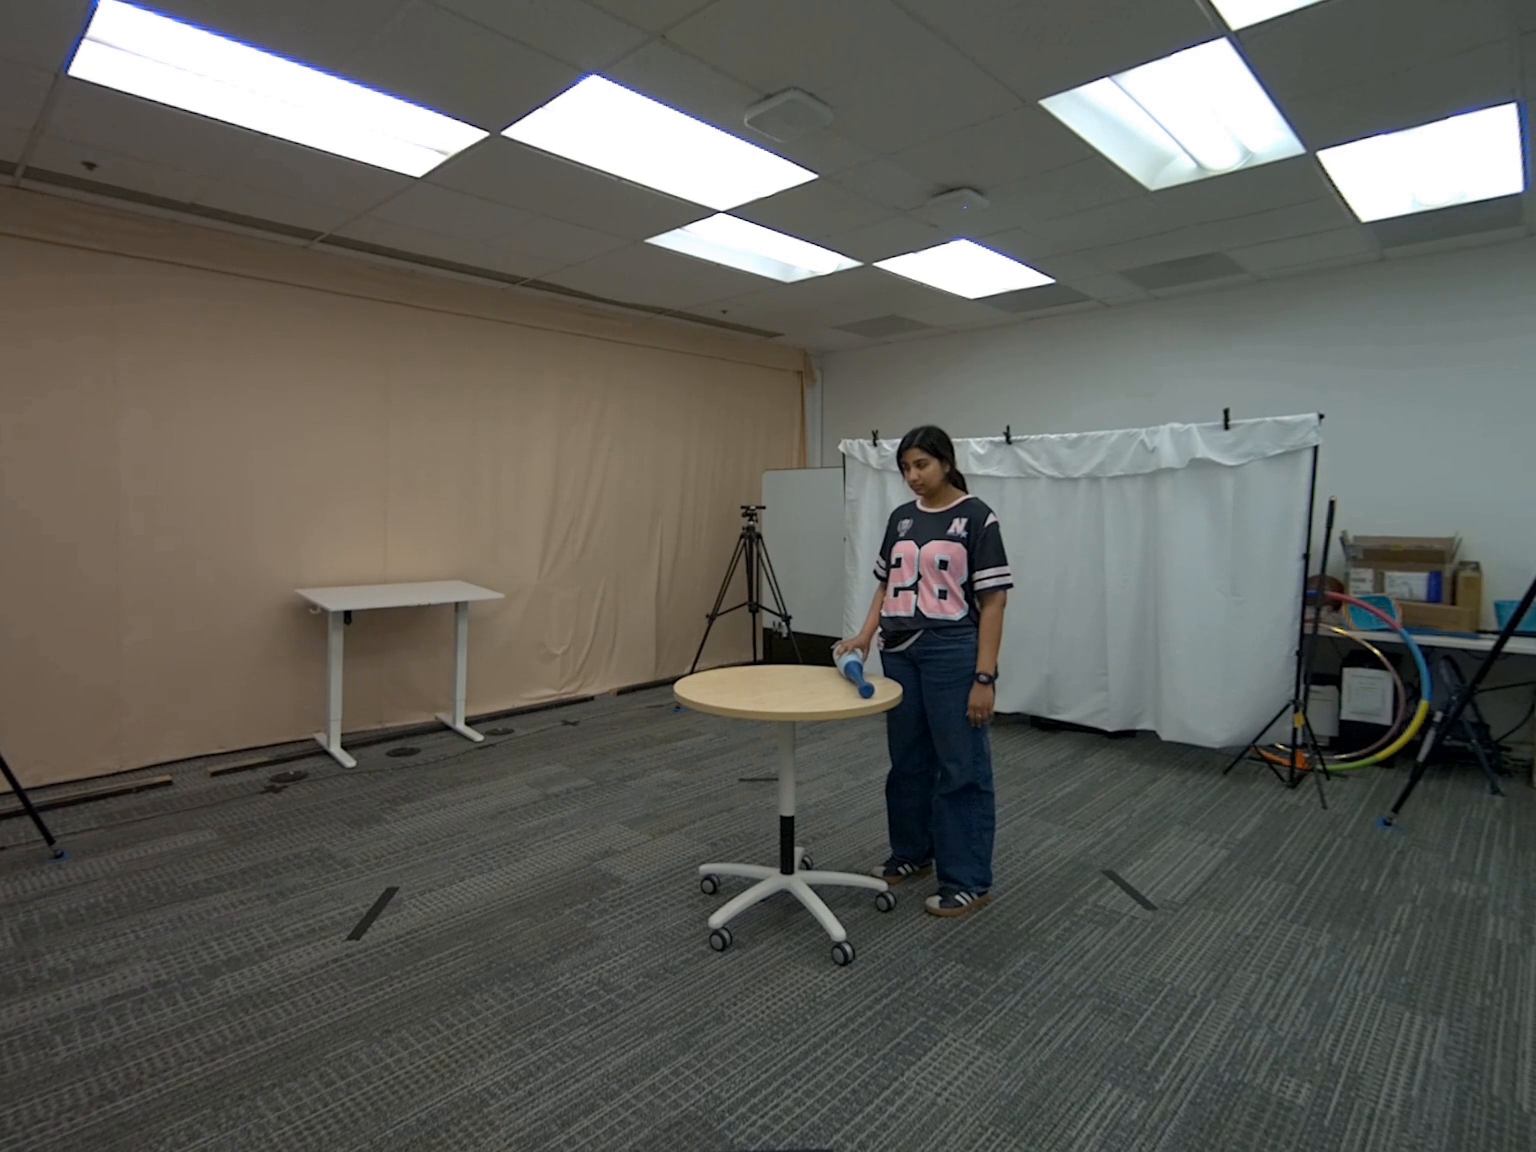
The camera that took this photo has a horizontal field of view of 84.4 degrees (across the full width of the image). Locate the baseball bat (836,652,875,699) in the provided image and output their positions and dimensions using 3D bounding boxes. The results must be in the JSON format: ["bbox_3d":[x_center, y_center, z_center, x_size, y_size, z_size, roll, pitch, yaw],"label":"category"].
[{"bbox_3d":[0.307,0.329,2.897,0.088,0.088,0.547,0,8,-6],"label":"baseball bat"}]
